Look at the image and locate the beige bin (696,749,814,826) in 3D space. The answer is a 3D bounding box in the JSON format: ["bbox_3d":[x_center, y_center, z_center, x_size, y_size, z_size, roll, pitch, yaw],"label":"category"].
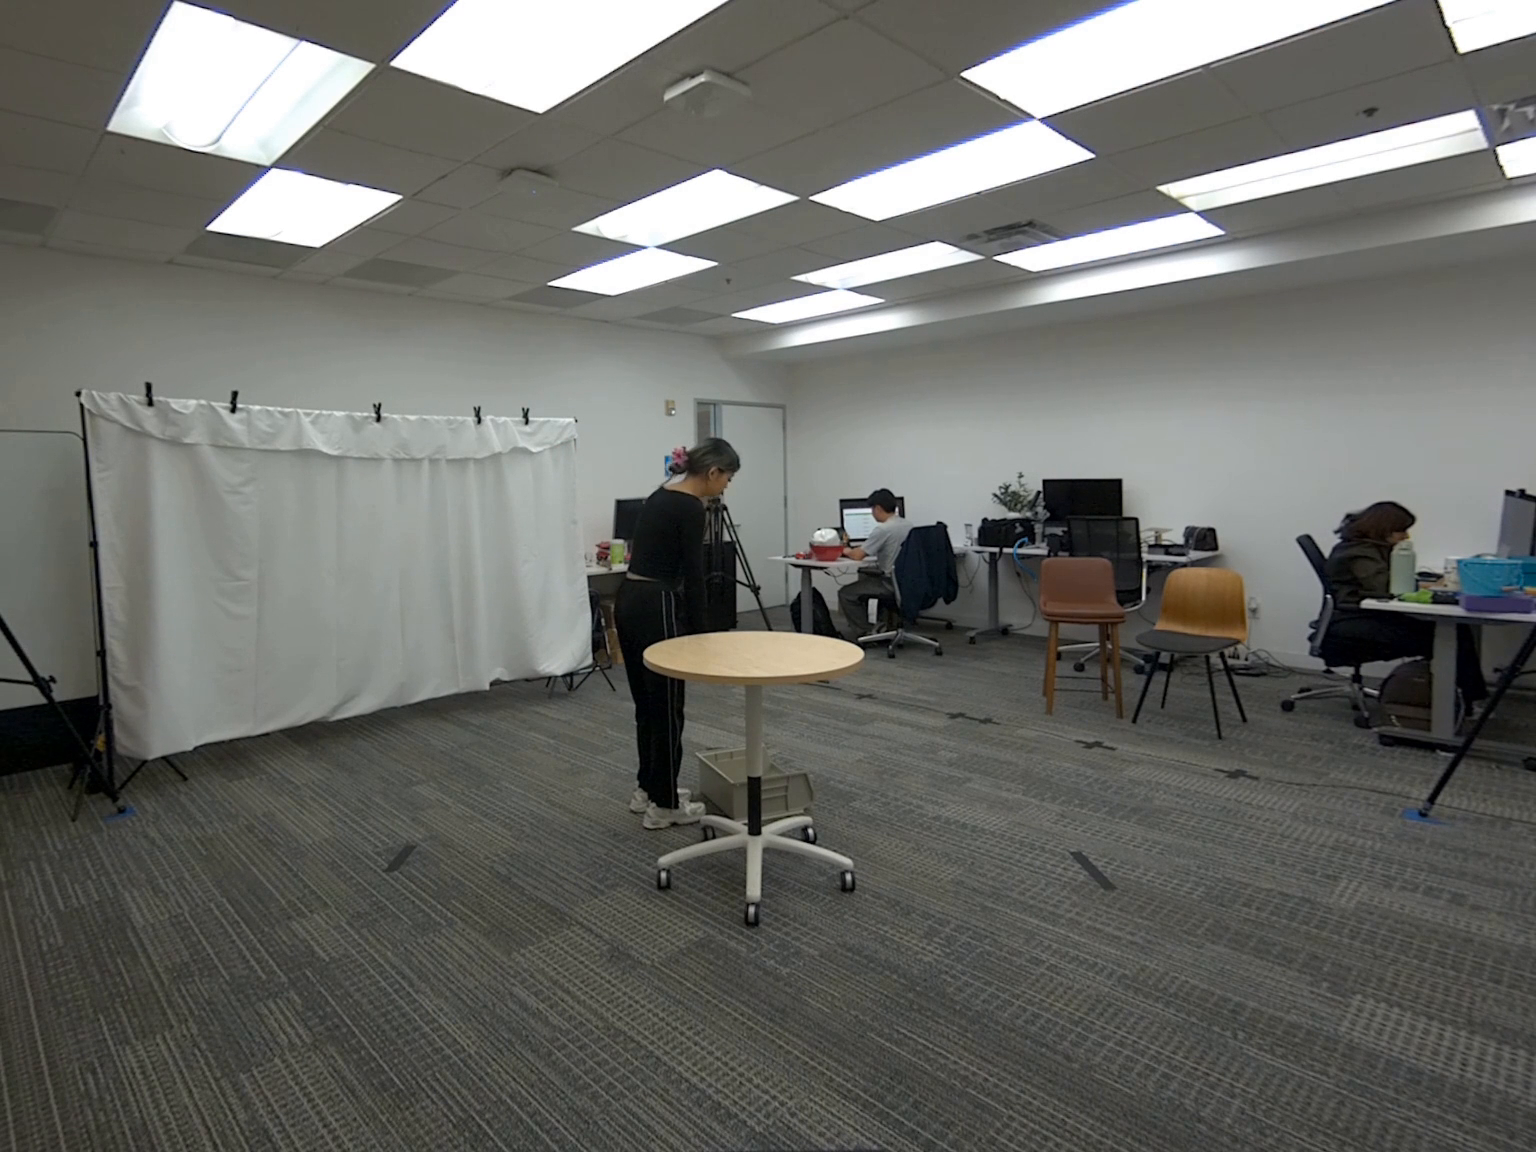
[{"bbox_3d":[-0.064,0.888,3.696,0.370,0.188,0.433,-4,7,-25],"label":"beige bin"}]
